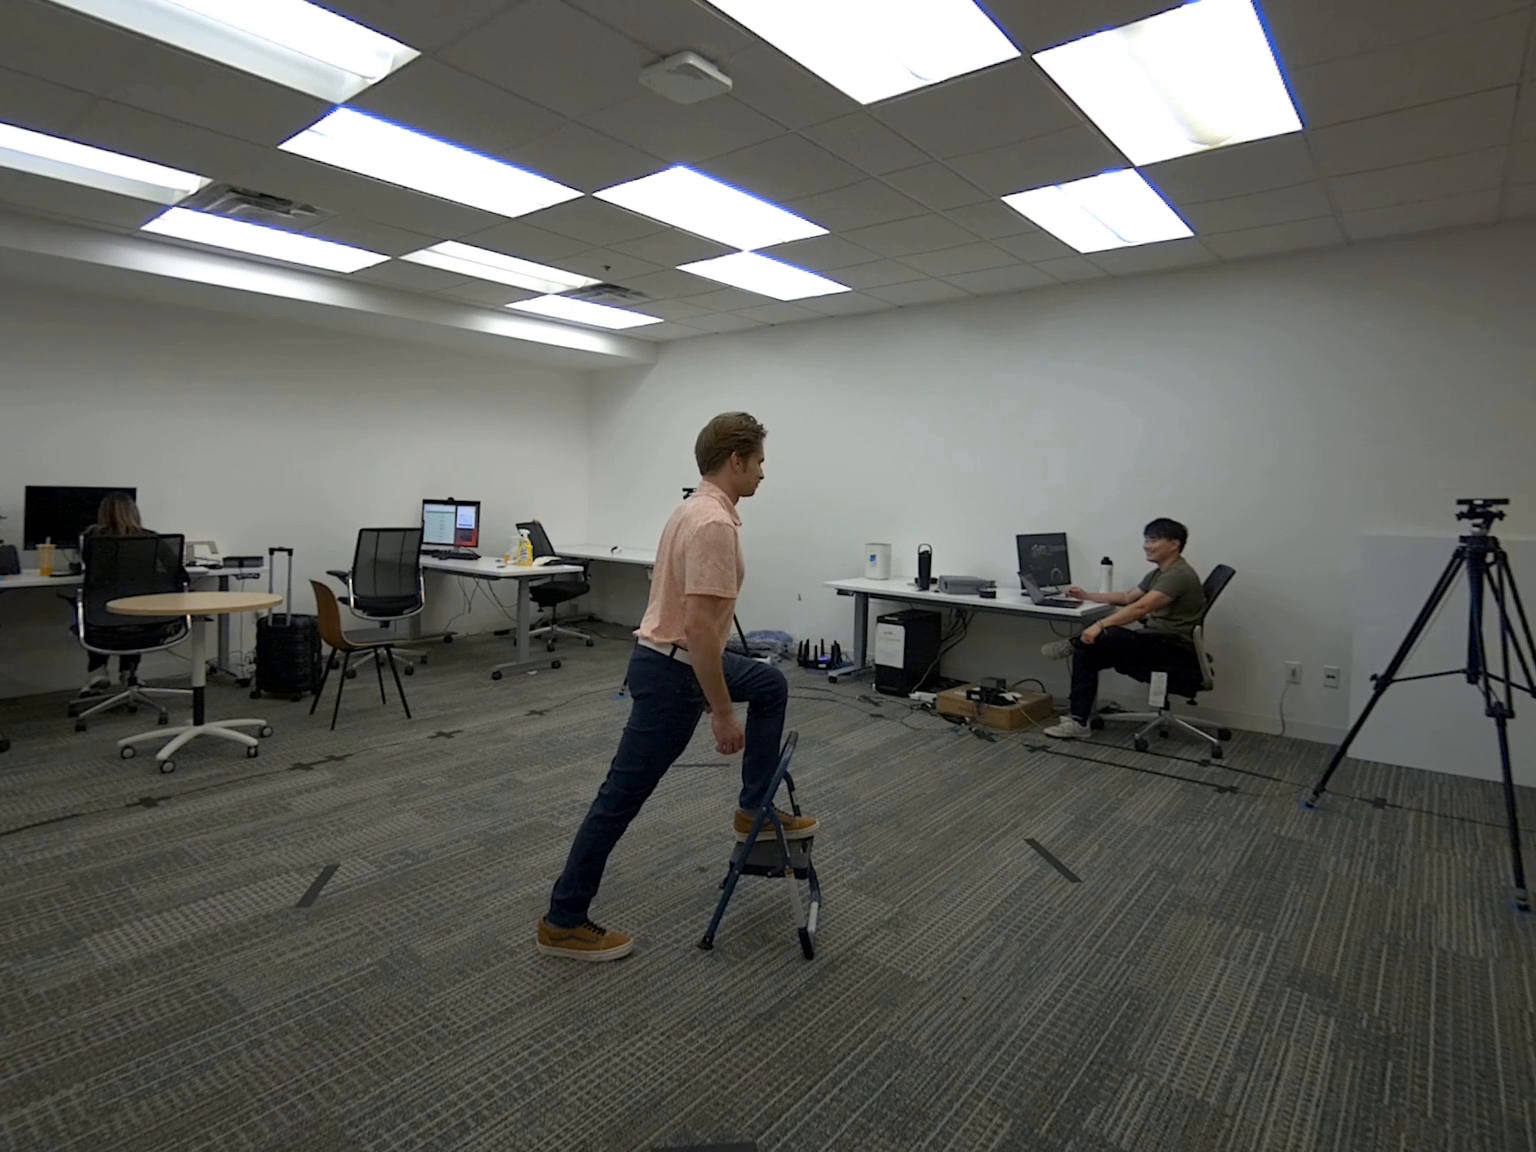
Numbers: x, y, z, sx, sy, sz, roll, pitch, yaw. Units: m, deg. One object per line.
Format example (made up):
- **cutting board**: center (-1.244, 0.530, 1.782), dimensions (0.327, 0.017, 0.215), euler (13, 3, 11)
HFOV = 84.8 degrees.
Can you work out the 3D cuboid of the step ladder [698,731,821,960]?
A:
- **step ladder**: center (-0.013, 0.808, 2.732), dimensions (0.352, 0.604, 0.428), euler (2, 4, 7)
